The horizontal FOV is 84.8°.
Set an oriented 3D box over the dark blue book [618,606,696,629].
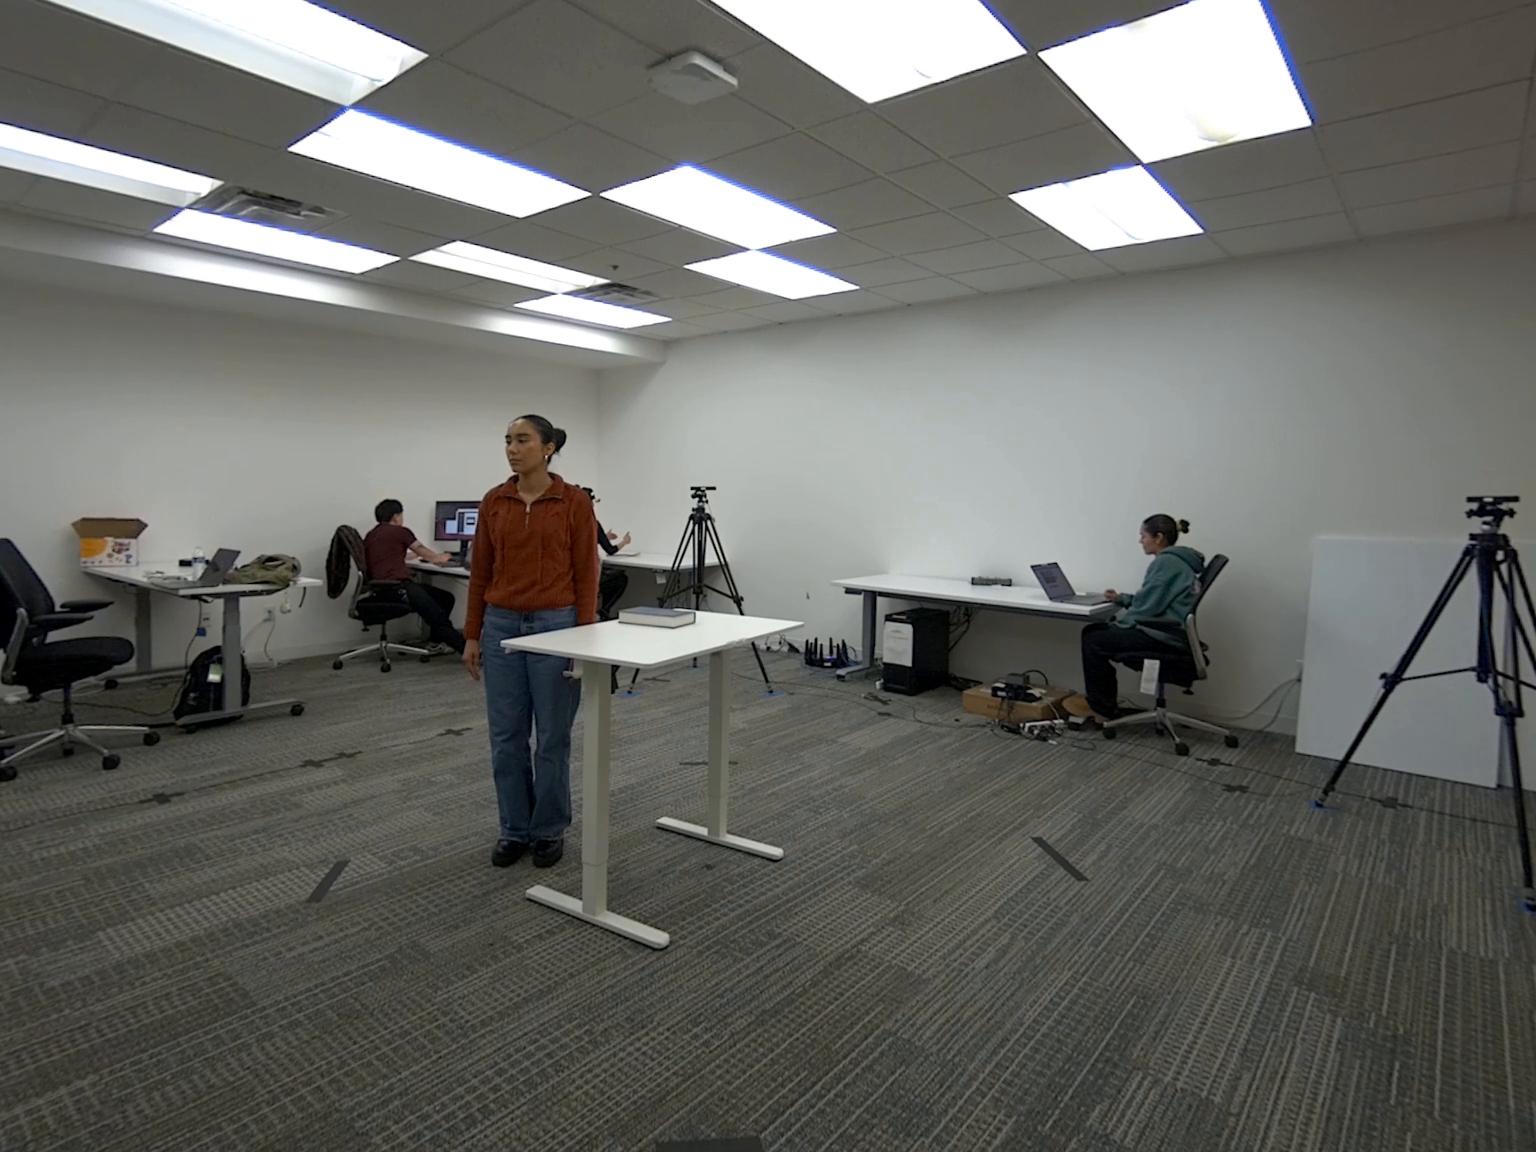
[{"bbox_3d":[-0.422,0.152,3.169,0.252,0.045,0.160,4,6,25],"label":"dark blue book"}]
